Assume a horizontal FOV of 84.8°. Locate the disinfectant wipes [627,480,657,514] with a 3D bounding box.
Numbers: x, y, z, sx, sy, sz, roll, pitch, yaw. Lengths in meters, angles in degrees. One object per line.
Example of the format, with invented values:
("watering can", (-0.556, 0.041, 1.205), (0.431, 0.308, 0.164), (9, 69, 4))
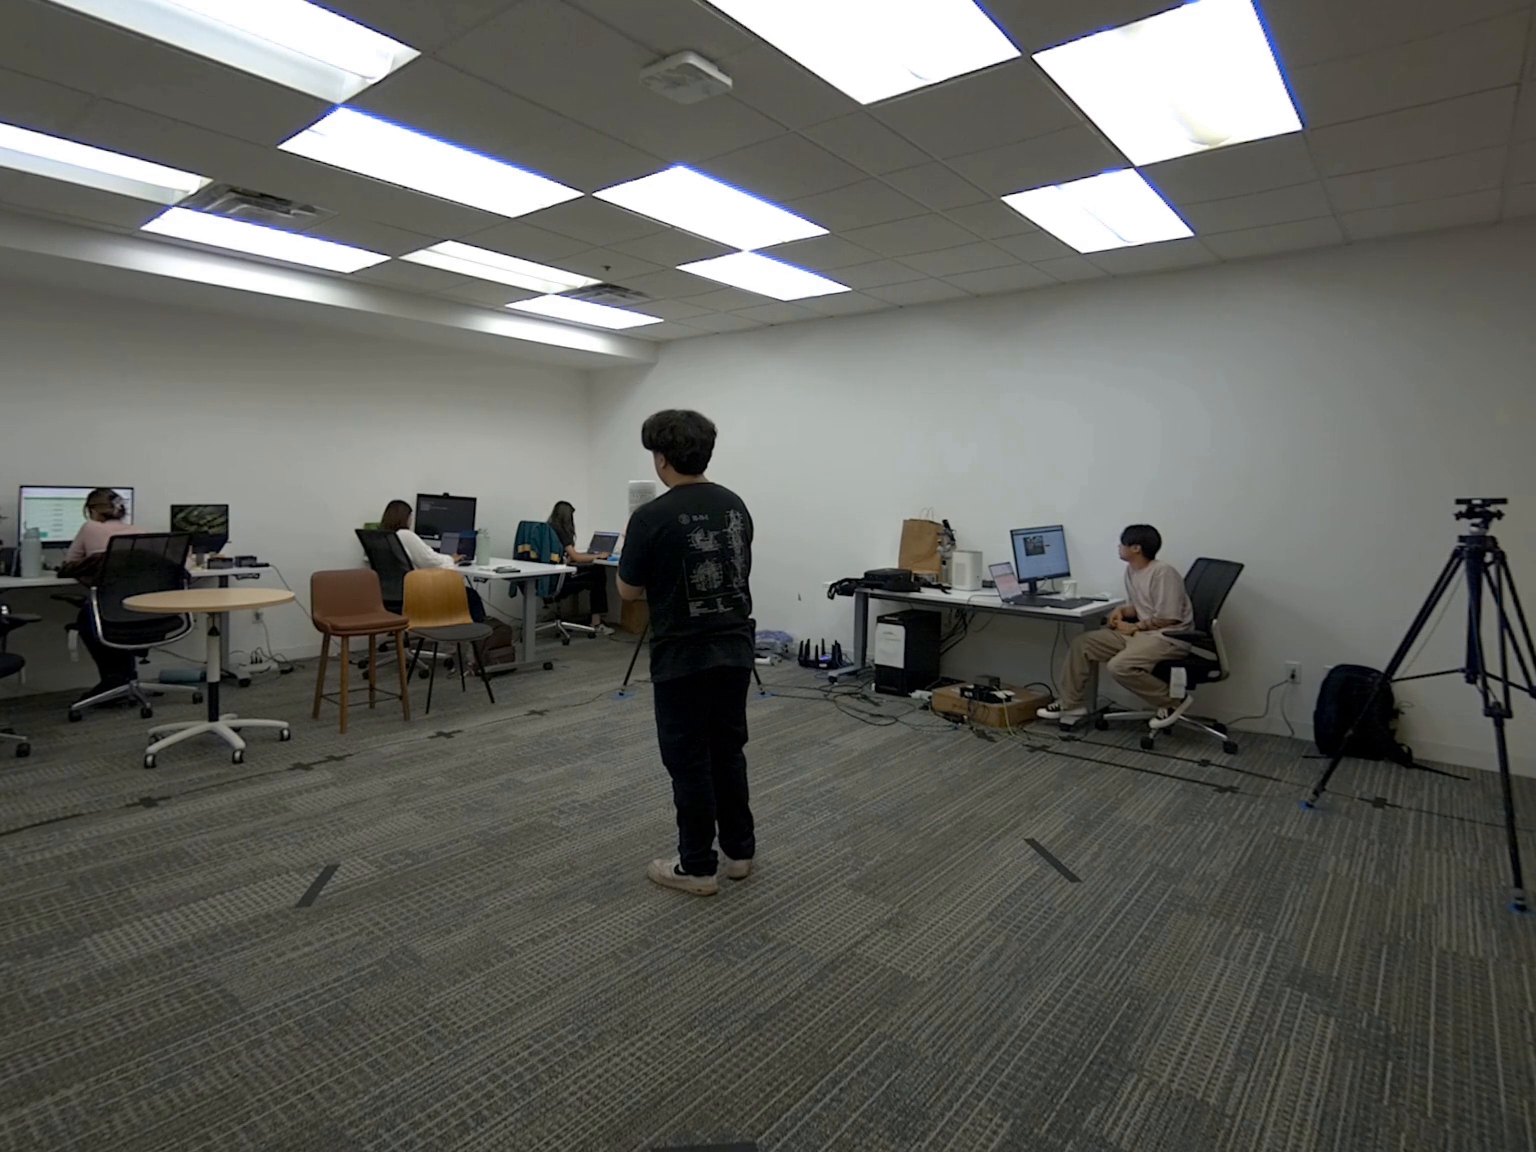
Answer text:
("disinfectant wipes", (-0.485, -0.259, 3.219), (0.118, 0.216, 0.118), (-3, 6, -1))
